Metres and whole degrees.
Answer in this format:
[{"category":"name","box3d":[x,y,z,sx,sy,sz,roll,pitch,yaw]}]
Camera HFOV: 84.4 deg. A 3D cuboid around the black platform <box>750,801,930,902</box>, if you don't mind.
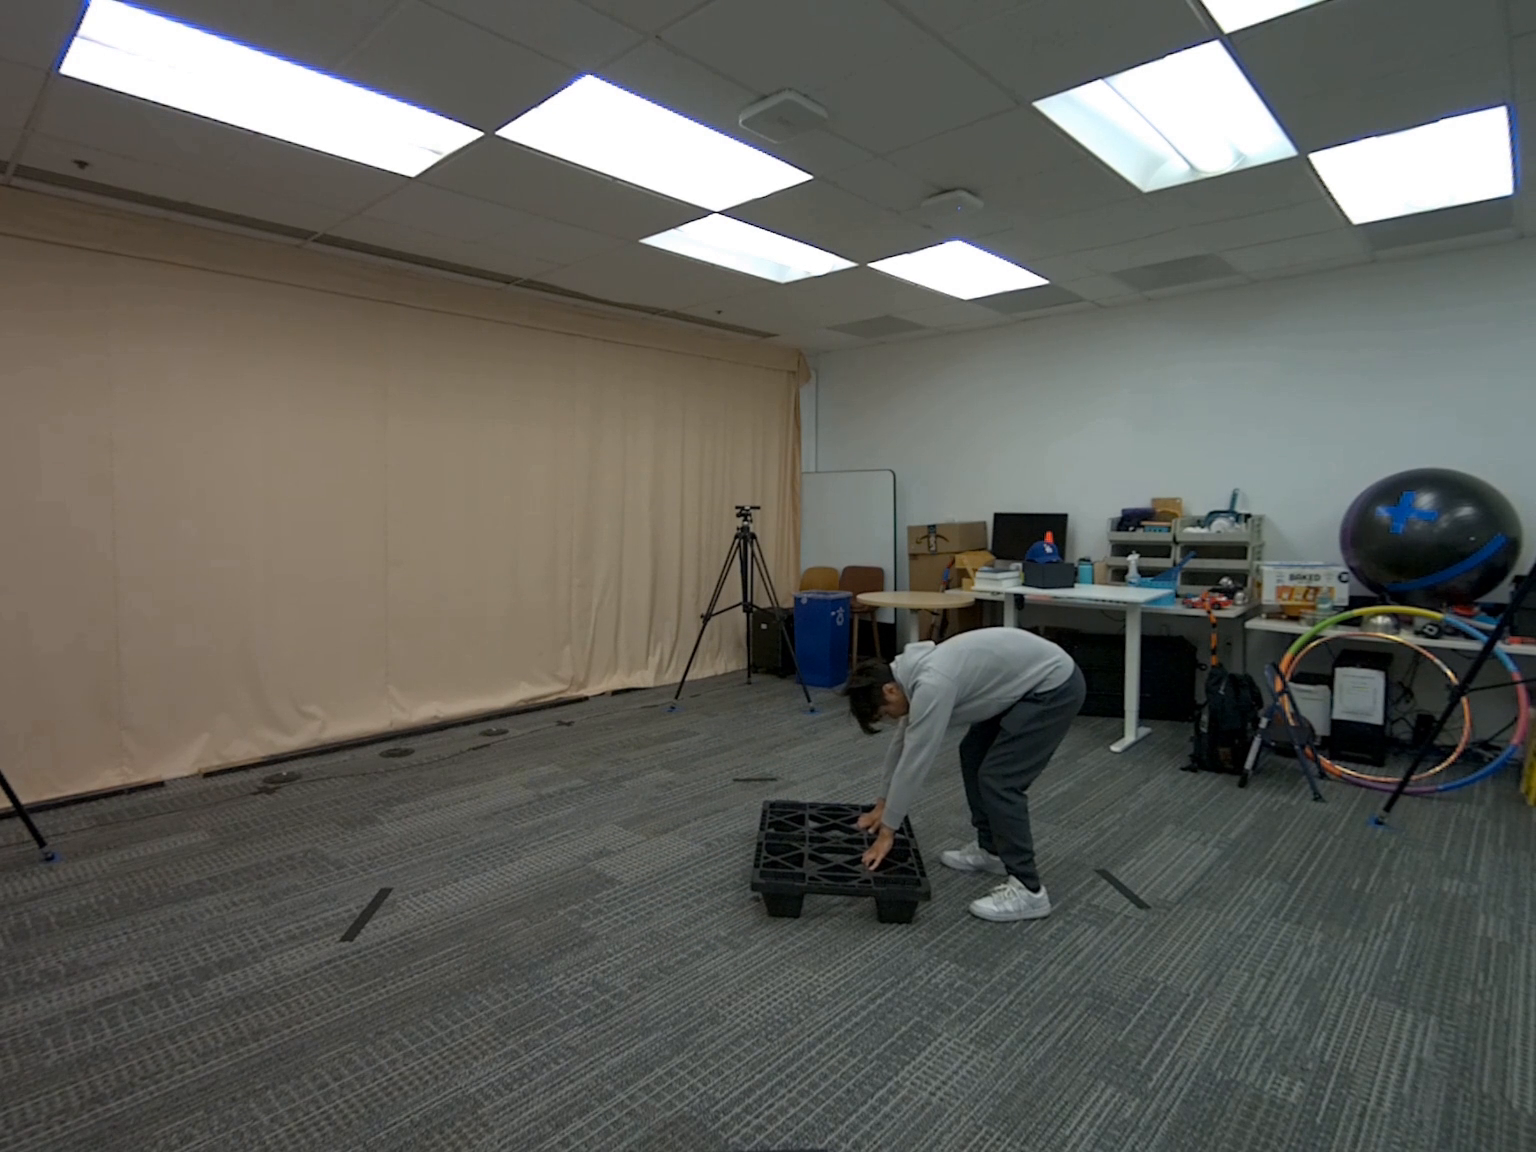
[{"category":"black platform","box3d":[0.263,1.055,3.182,0.609,0.143,0.803,1,5,4]}]
